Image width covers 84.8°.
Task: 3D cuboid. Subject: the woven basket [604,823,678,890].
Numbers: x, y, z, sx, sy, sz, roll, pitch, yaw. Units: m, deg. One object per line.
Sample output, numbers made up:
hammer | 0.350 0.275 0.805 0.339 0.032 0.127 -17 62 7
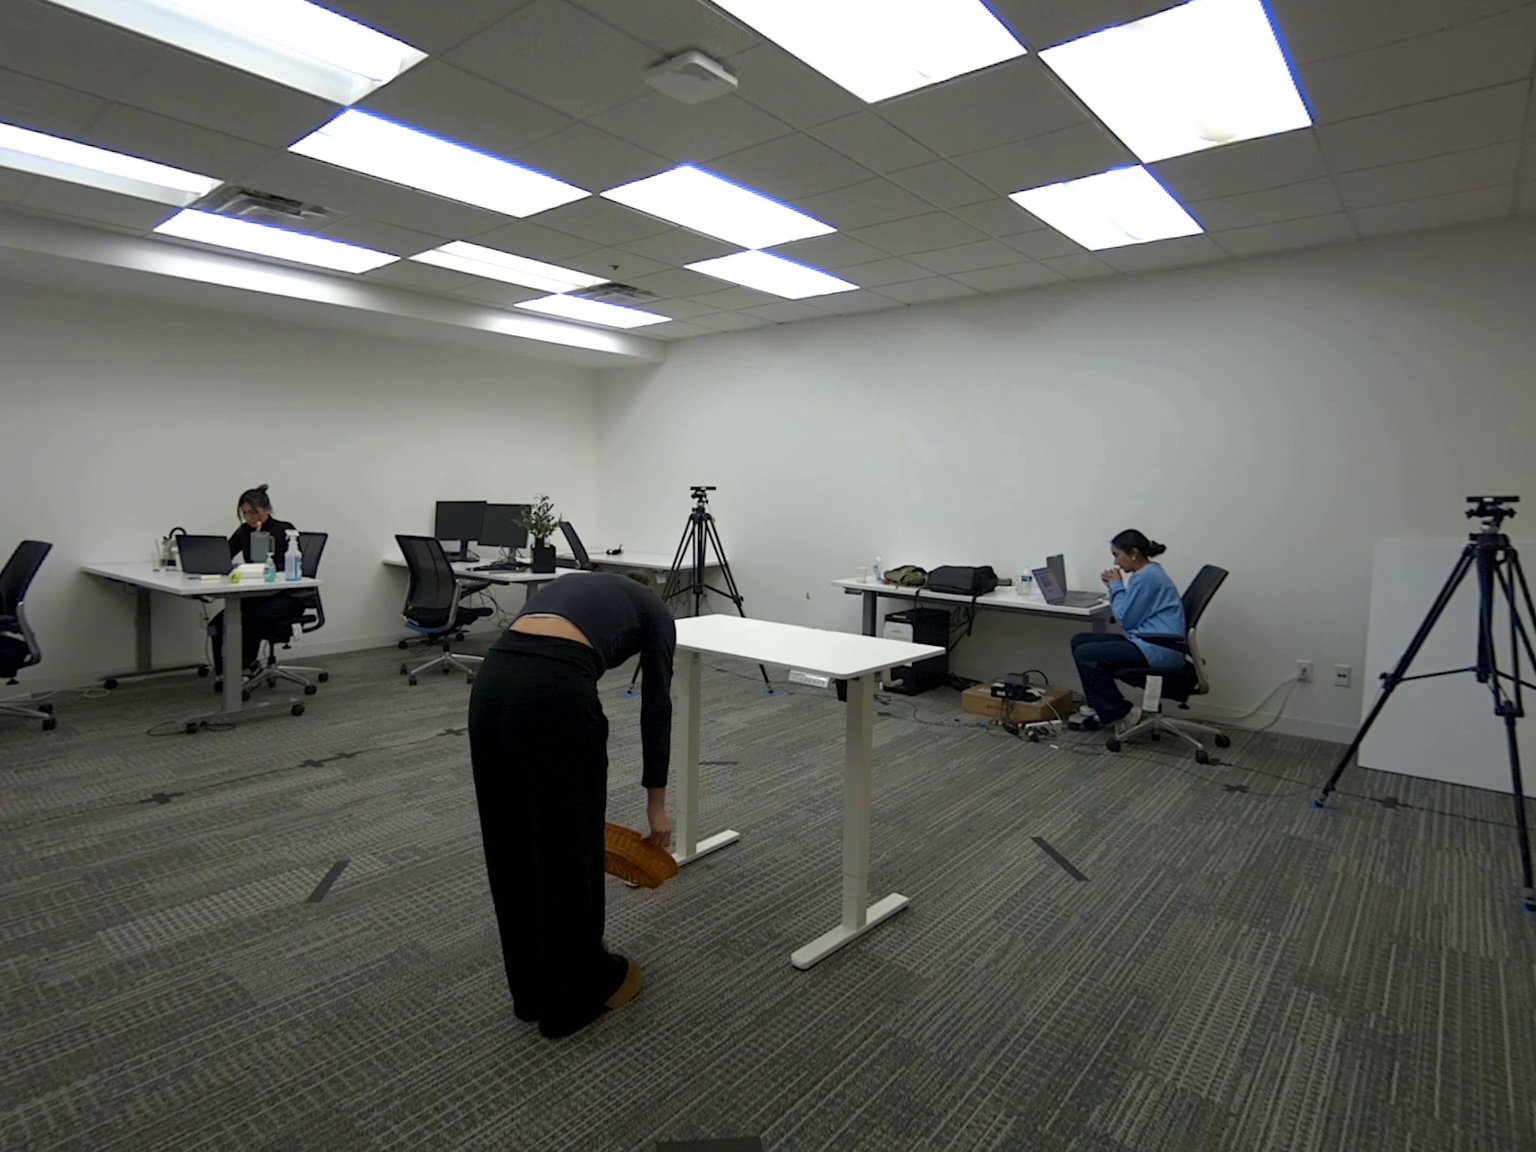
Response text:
woven basket | -0.425 0.792 2.458 0.361 0.243 0.074 4 41 32
